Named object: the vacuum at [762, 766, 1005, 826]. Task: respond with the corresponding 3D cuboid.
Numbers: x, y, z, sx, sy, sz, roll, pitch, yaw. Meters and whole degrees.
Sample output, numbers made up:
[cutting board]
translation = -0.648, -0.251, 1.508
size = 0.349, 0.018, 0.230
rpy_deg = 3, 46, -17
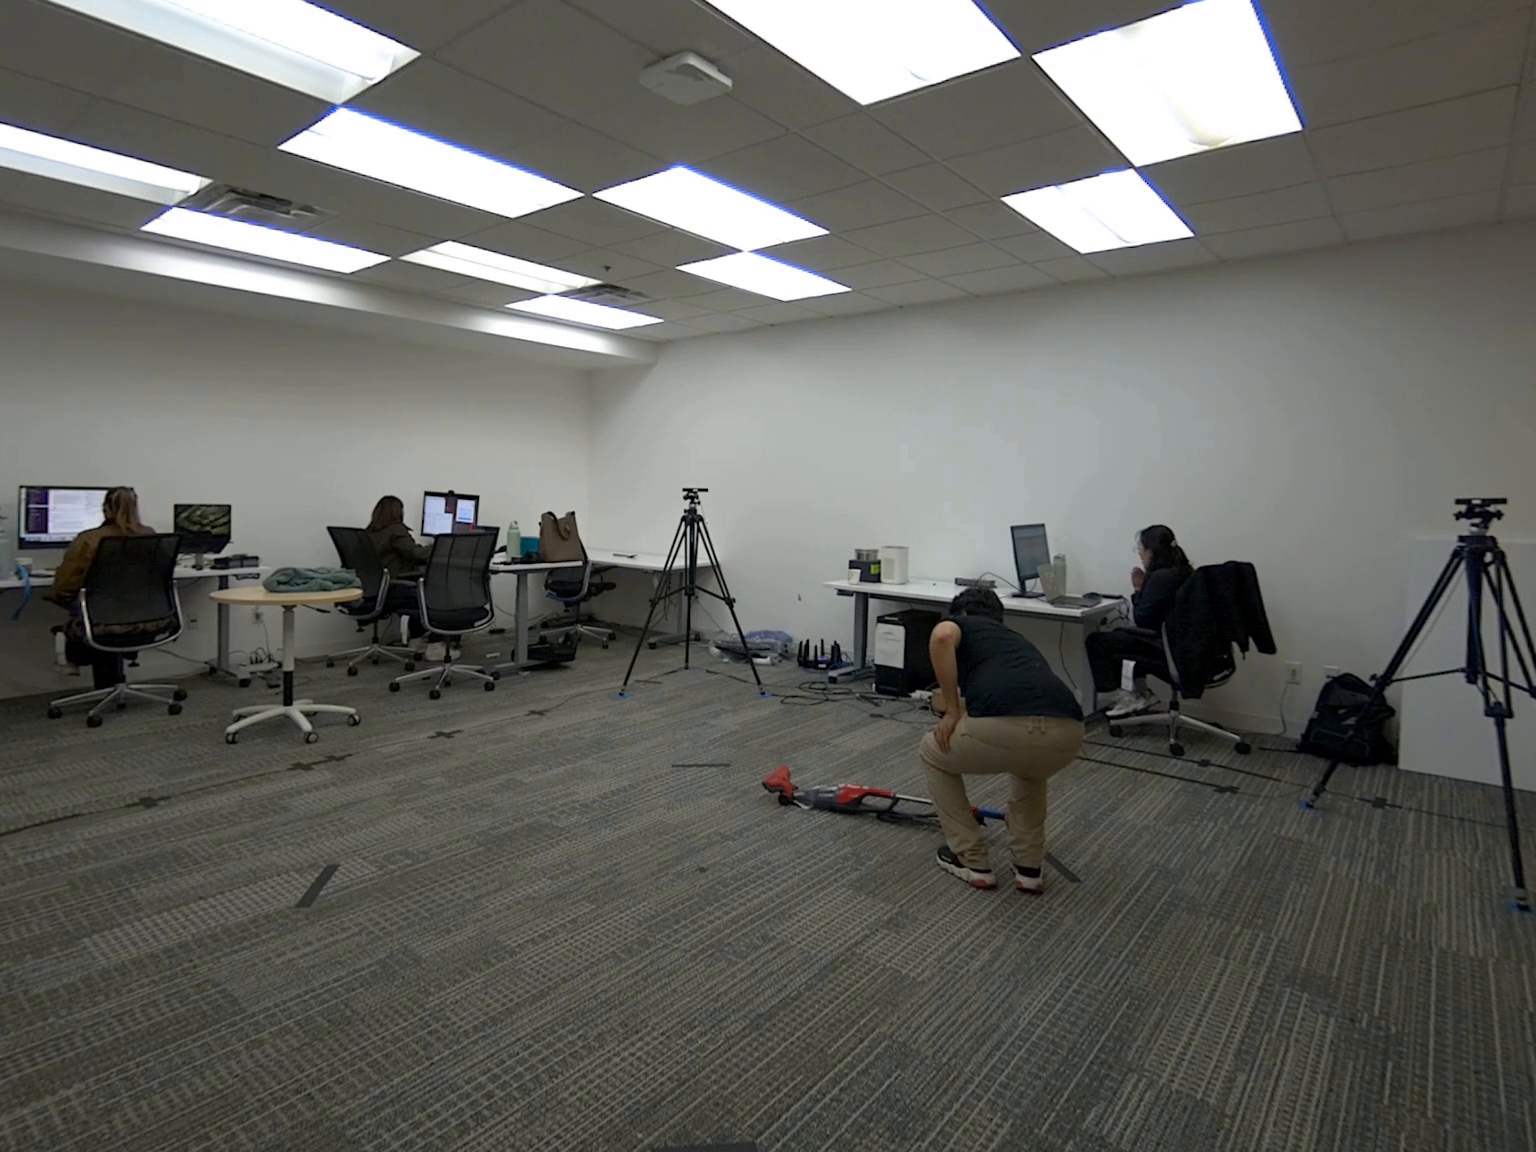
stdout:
[vacuum]
translation = 0.524, 0.974, 3.613
size = 1.076, 0.143, 0.247
rpy_deg = 3, 7, 25
